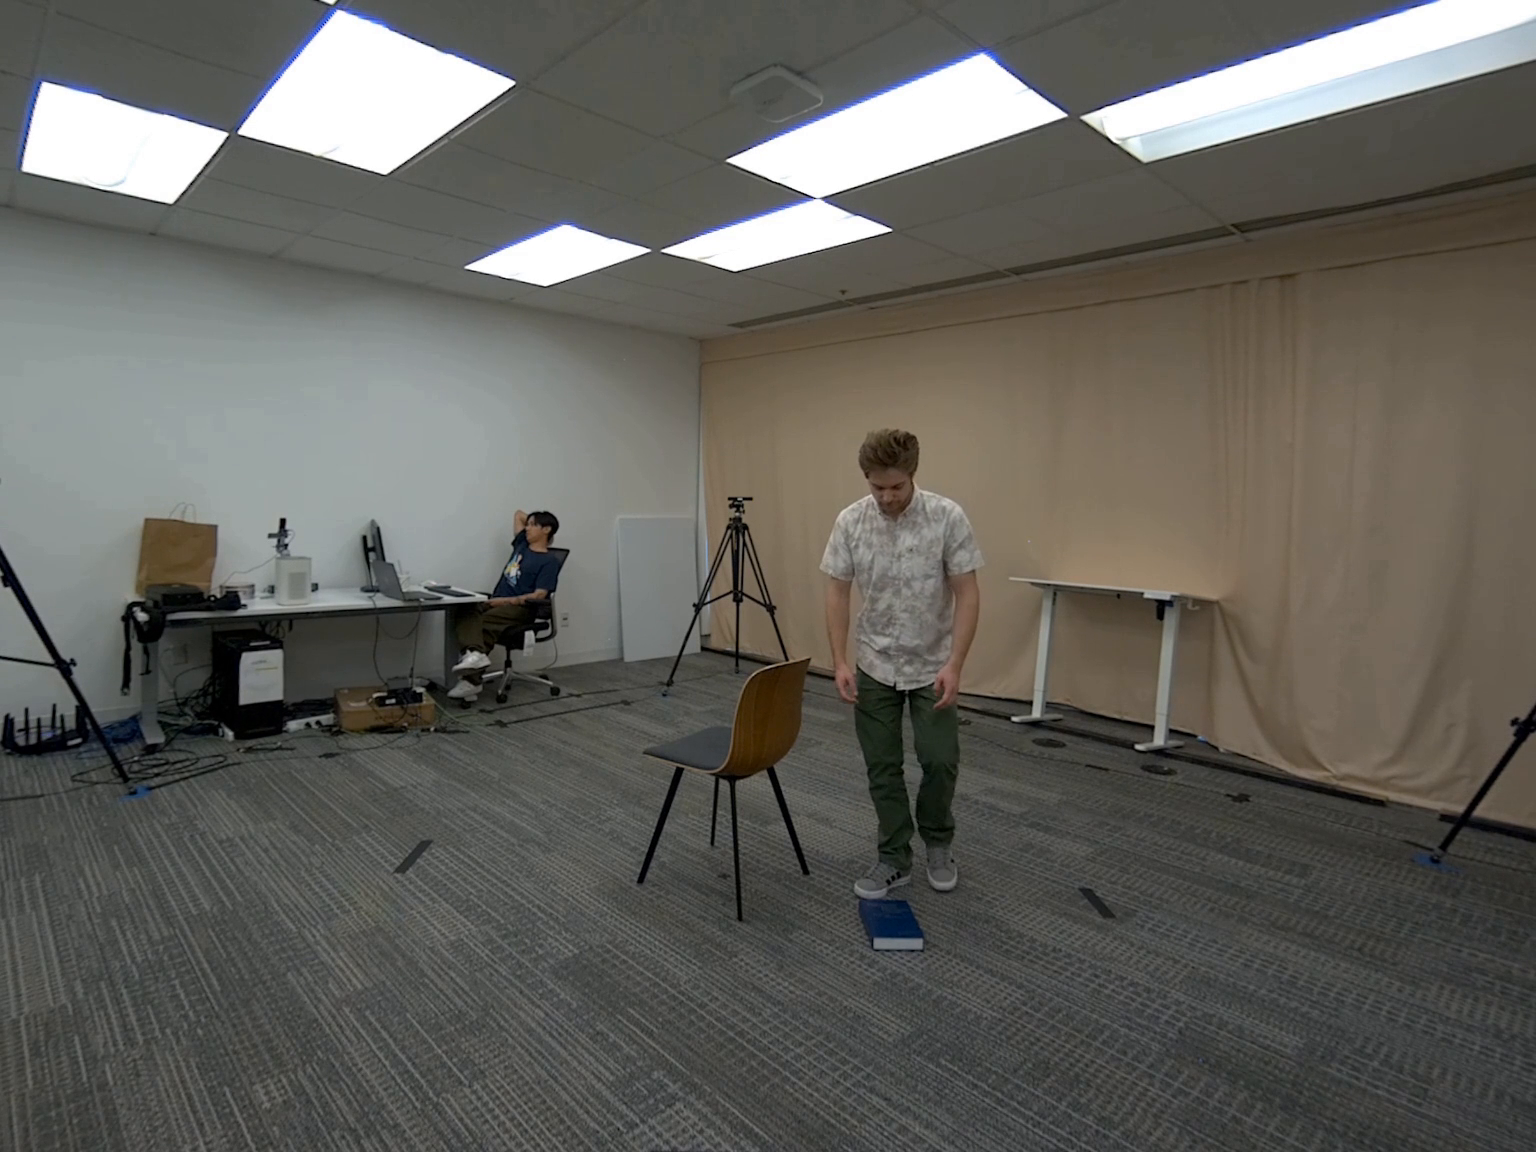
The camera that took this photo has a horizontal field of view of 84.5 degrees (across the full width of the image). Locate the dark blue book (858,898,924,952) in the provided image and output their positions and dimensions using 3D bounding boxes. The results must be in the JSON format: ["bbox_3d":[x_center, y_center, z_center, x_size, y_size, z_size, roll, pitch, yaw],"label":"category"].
[{"bbox_3d":[0.393,1.131,2.732,0.163,0.045,0.246,2,5,-4],"label":"dark blue book"}]
